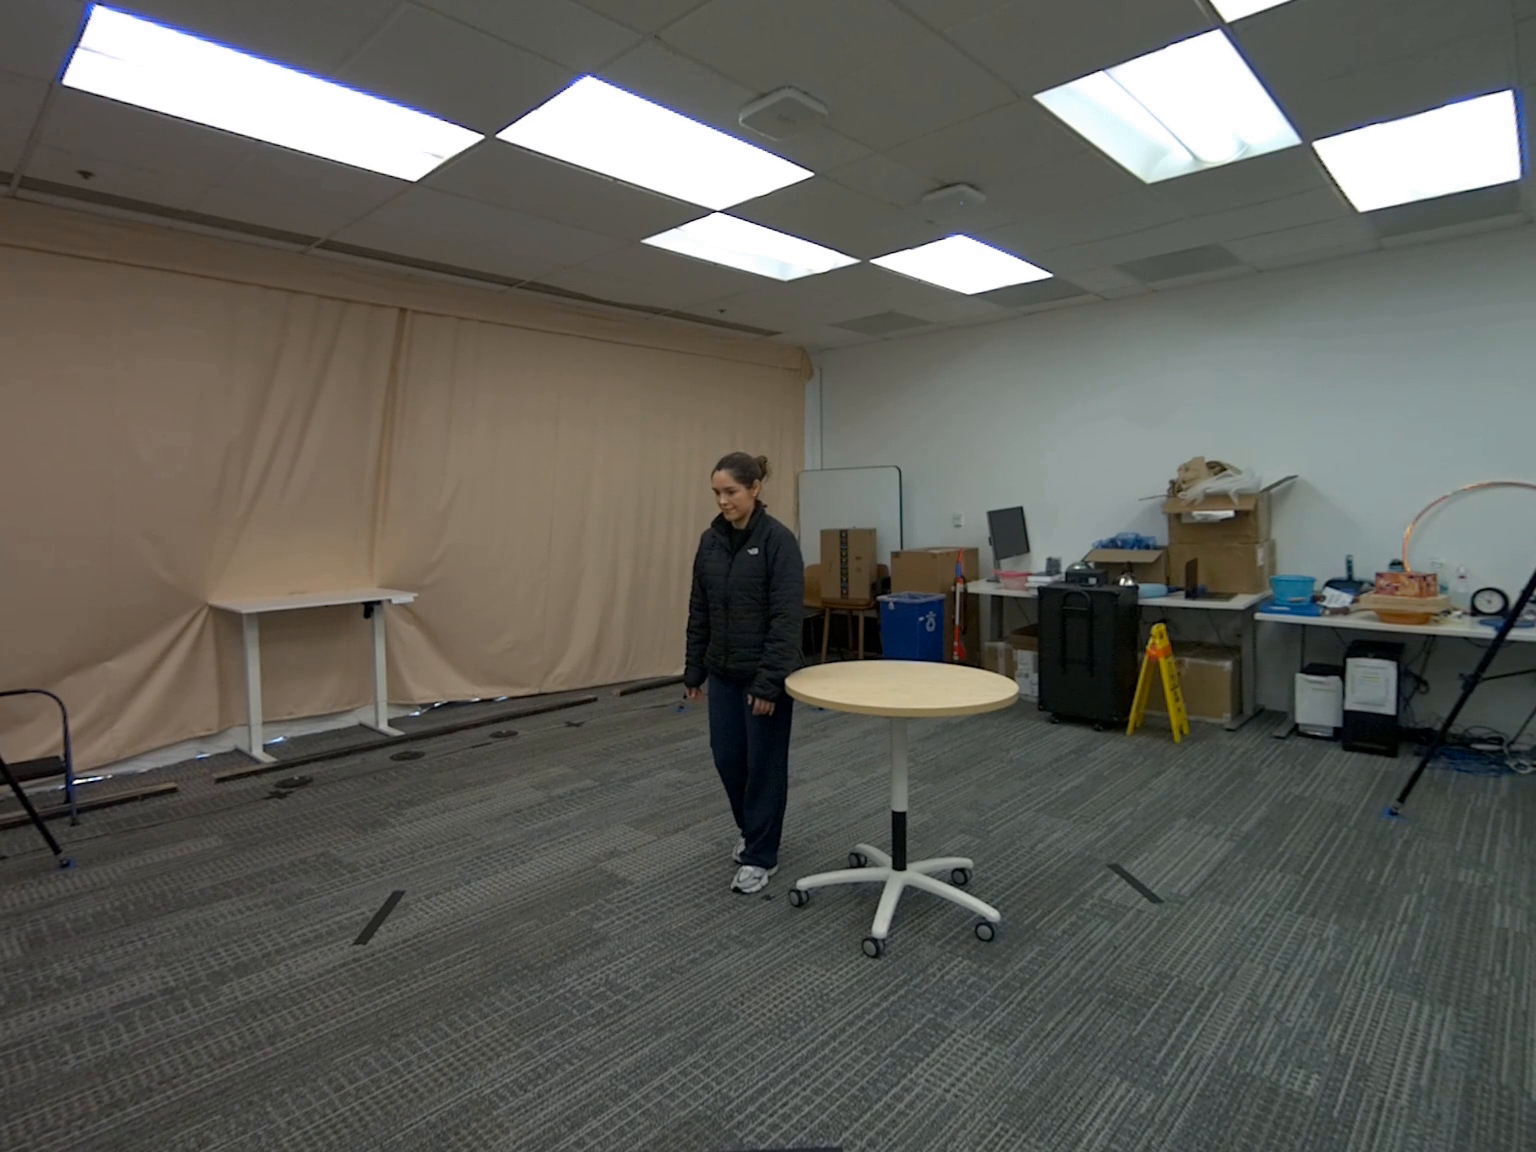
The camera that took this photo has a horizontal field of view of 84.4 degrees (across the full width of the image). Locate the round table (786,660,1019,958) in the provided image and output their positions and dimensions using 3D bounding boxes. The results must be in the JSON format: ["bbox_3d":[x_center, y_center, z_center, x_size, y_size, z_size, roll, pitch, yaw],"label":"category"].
[{"bbox_3d":[0.451,0.749,2.872,0.784,0.785,0.788,0,4,-2],"label":"round table"}]
